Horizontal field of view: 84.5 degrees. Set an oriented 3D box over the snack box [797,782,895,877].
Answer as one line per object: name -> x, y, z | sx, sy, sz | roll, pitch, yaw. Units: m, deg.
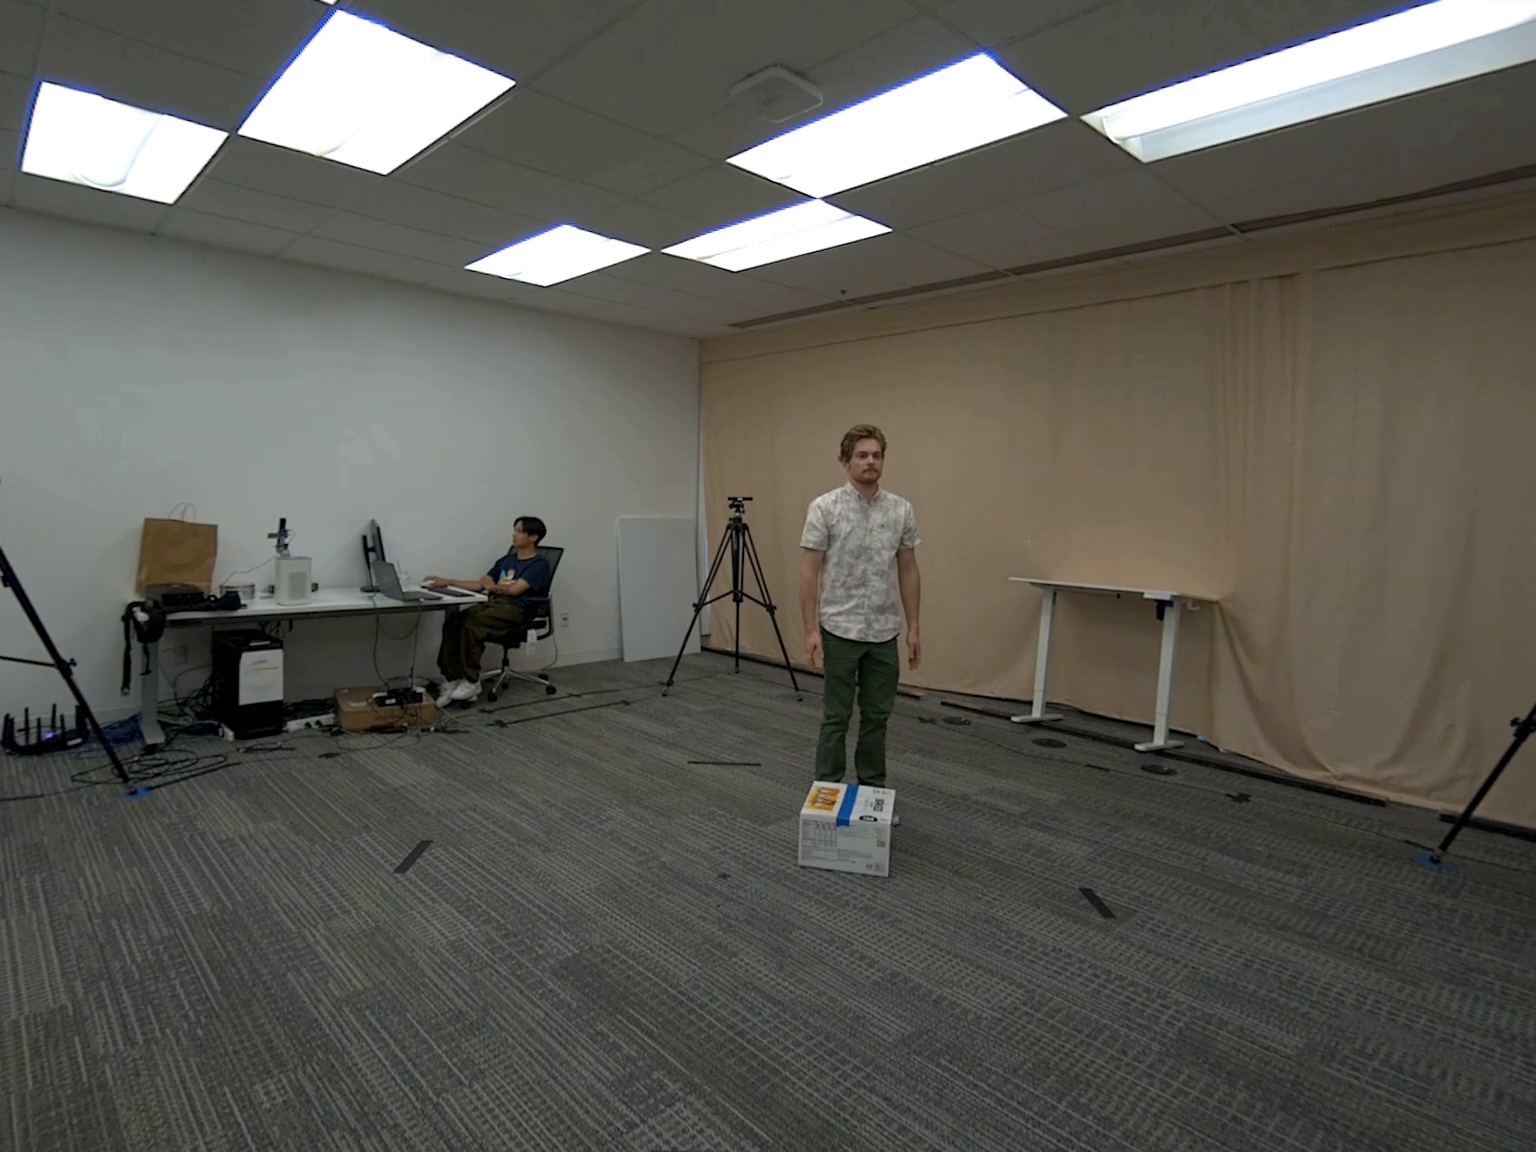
snack box -> 0.315, 0.993, 3.347 | 0.344, 0.205, 0.402 | 2, 4, 12
